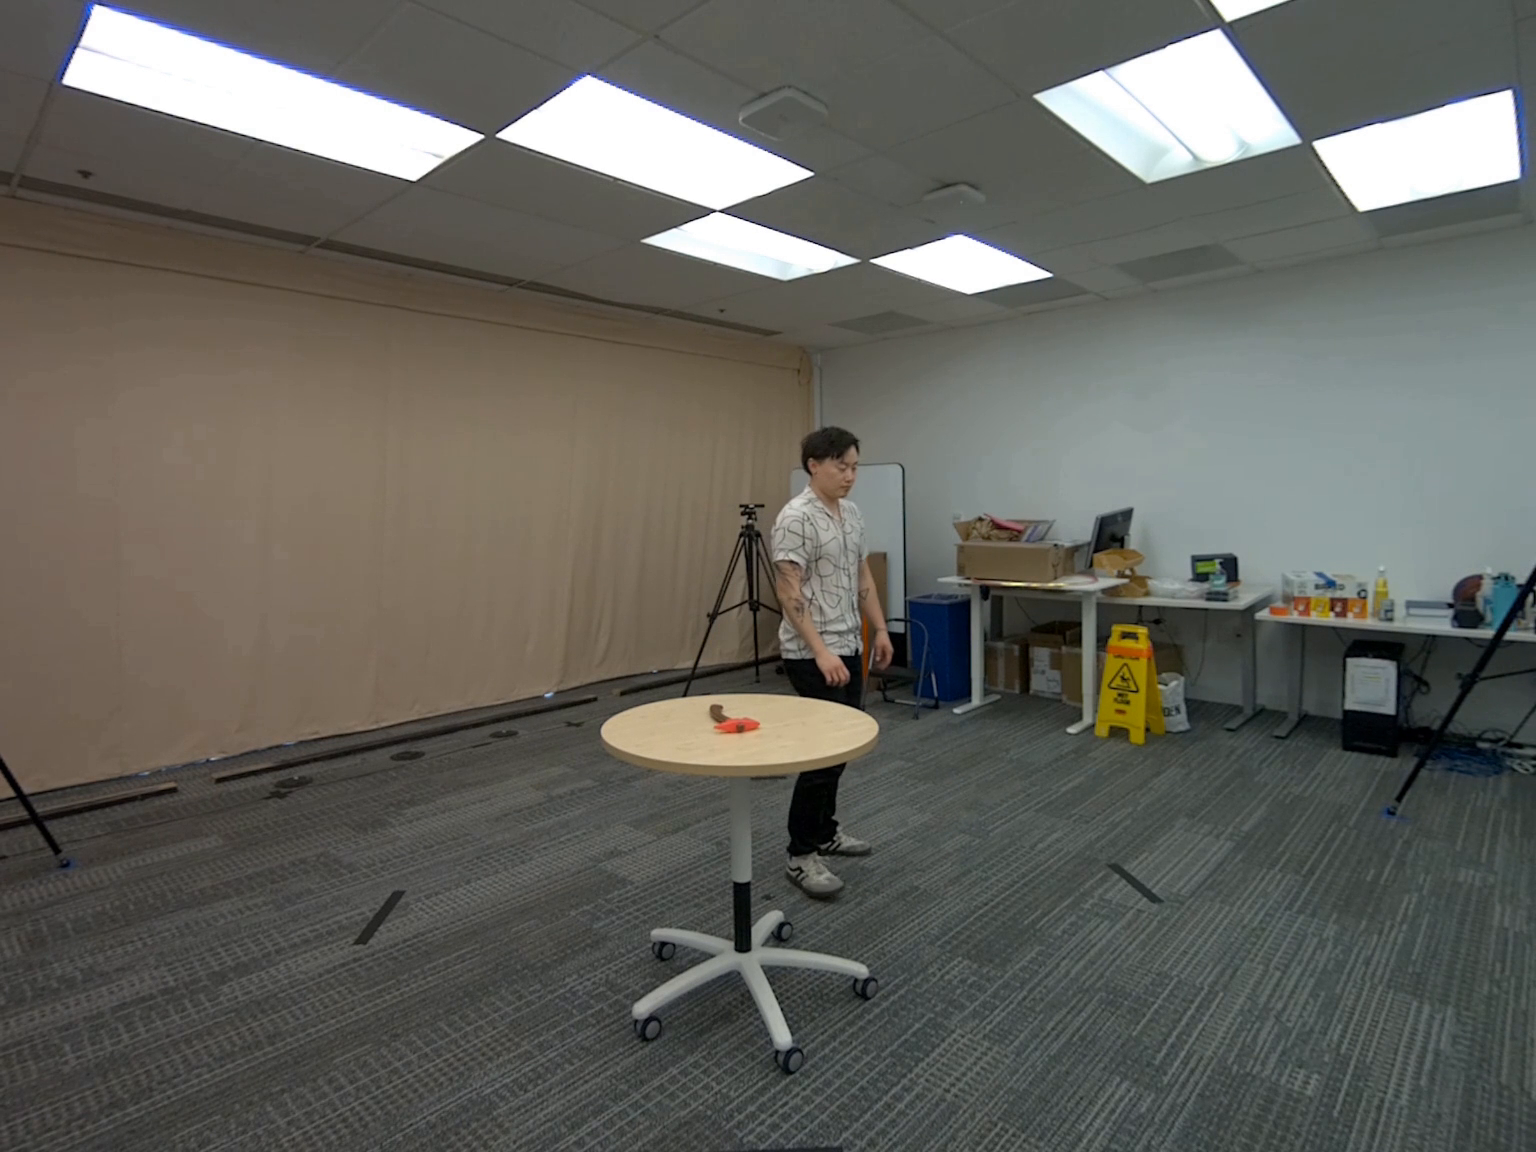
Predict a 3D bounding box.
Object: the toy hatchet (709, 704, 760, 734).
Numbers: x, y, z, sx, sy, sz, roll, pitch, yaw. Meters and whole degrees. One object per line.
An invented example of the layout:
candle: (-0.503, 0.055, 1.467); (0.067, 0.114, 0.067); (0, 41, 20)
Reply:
toy hatchet: (-0.096, 0.398, 2.377); (0.130, 0.029, 0.272); (0, 4, -7)
